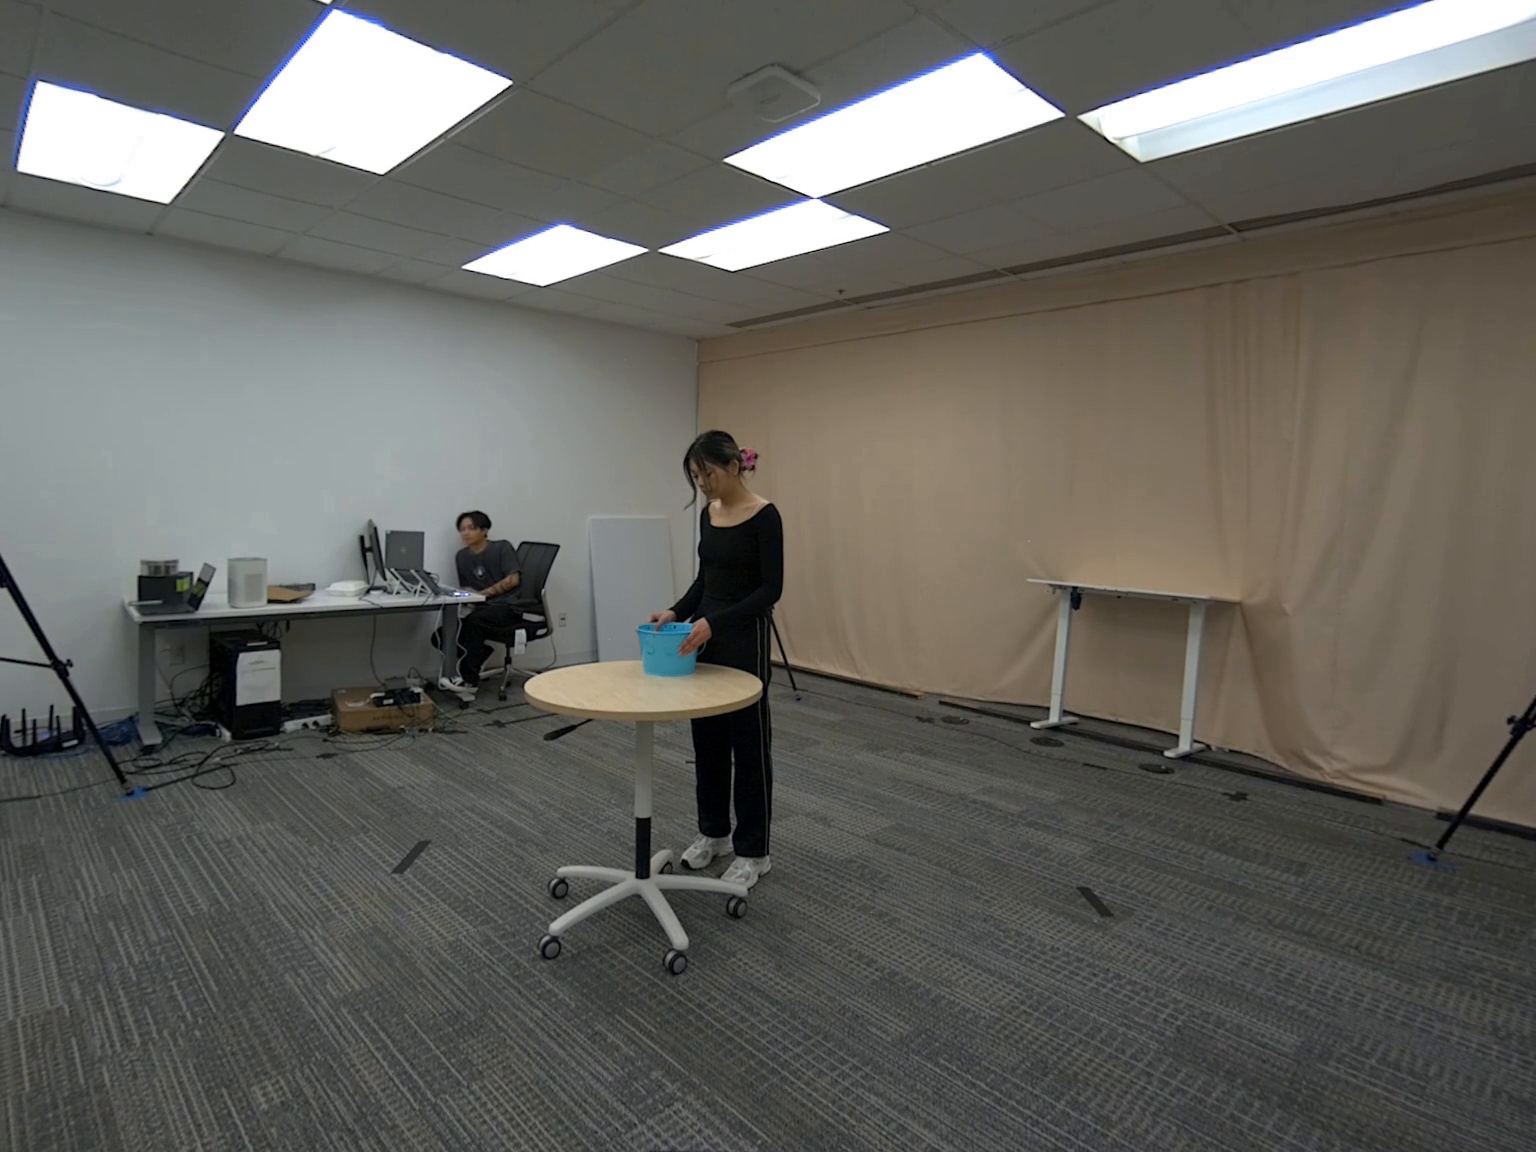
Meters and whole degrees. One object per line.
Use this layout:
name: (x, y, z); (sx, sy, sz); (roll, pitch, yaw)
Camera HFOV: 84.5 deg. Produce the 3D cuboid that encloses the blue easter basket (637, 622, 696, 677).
blue easter basket: (-0.352, 0.258, 2.943); (0.243, 0.155, 0.244); (2, 4, -1)
